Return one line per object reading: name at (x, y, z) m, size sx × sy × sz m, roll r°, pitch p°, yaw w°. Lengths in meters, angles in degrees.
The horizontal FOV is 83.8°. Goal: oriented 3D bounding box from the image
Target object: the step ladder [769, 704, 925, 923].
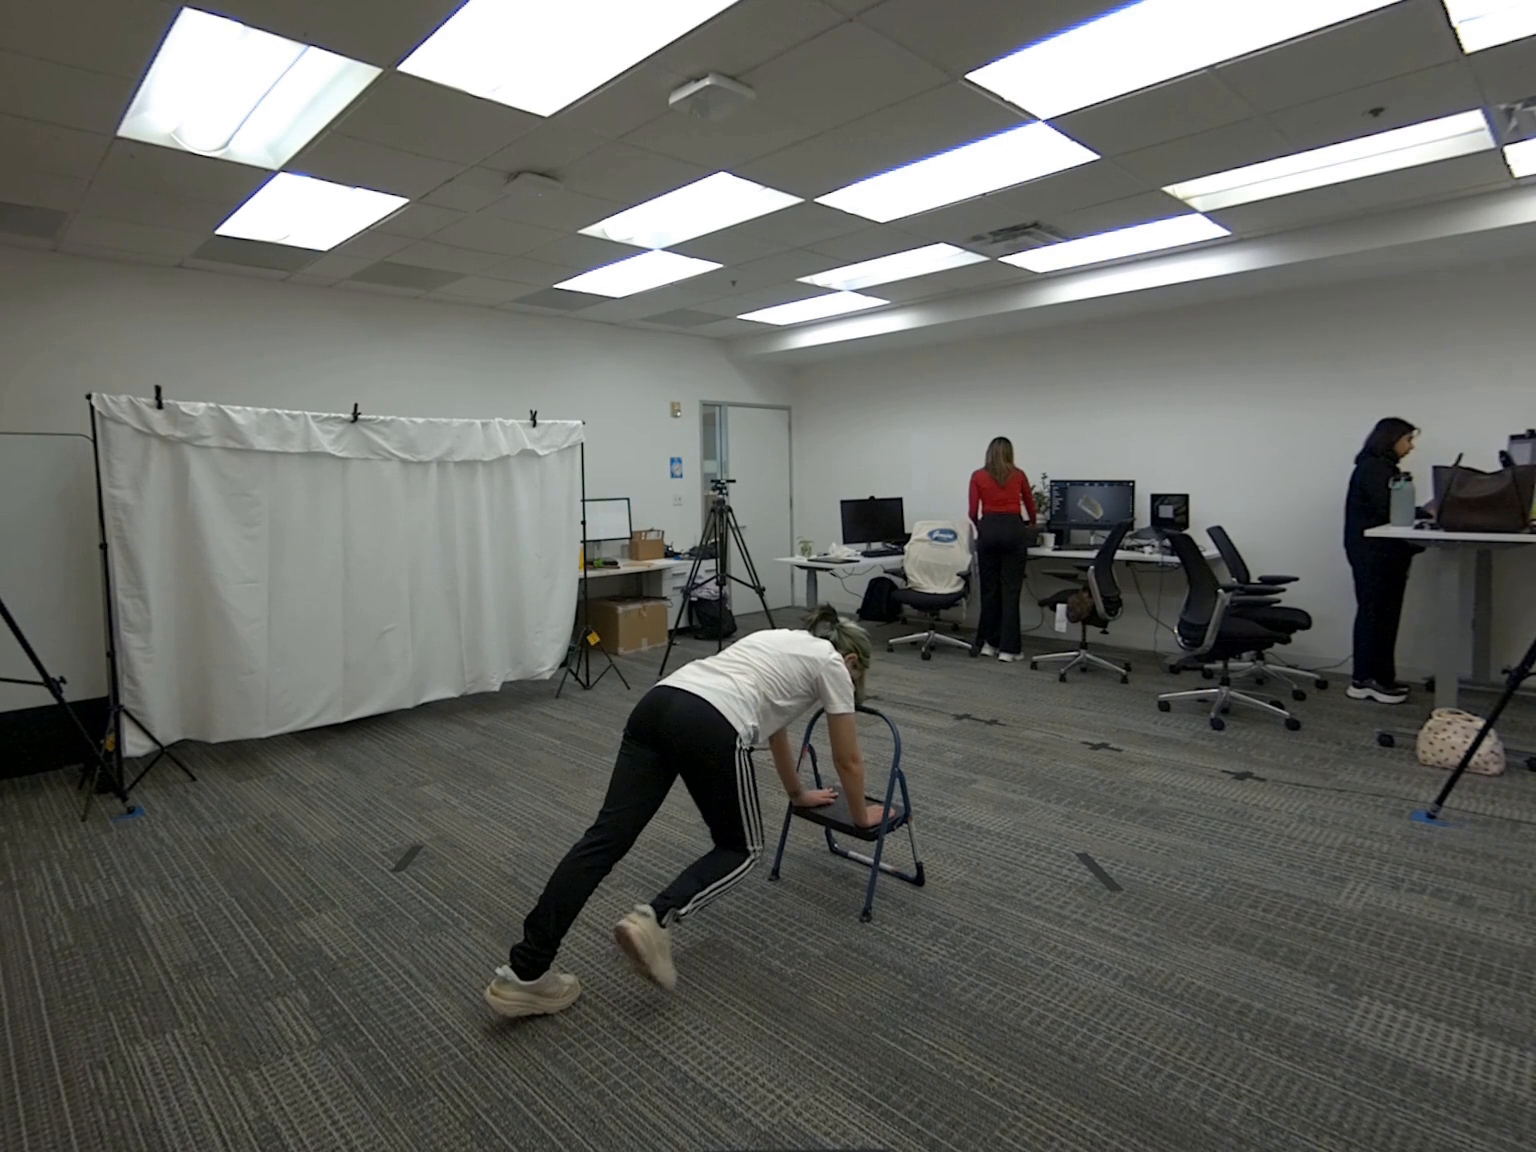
step ladder at (0.270, 0.757, 2.938) m, size 0.444 × 0.604 × 0.340 m, roll 4°, pitch 6°, yaw 45°
